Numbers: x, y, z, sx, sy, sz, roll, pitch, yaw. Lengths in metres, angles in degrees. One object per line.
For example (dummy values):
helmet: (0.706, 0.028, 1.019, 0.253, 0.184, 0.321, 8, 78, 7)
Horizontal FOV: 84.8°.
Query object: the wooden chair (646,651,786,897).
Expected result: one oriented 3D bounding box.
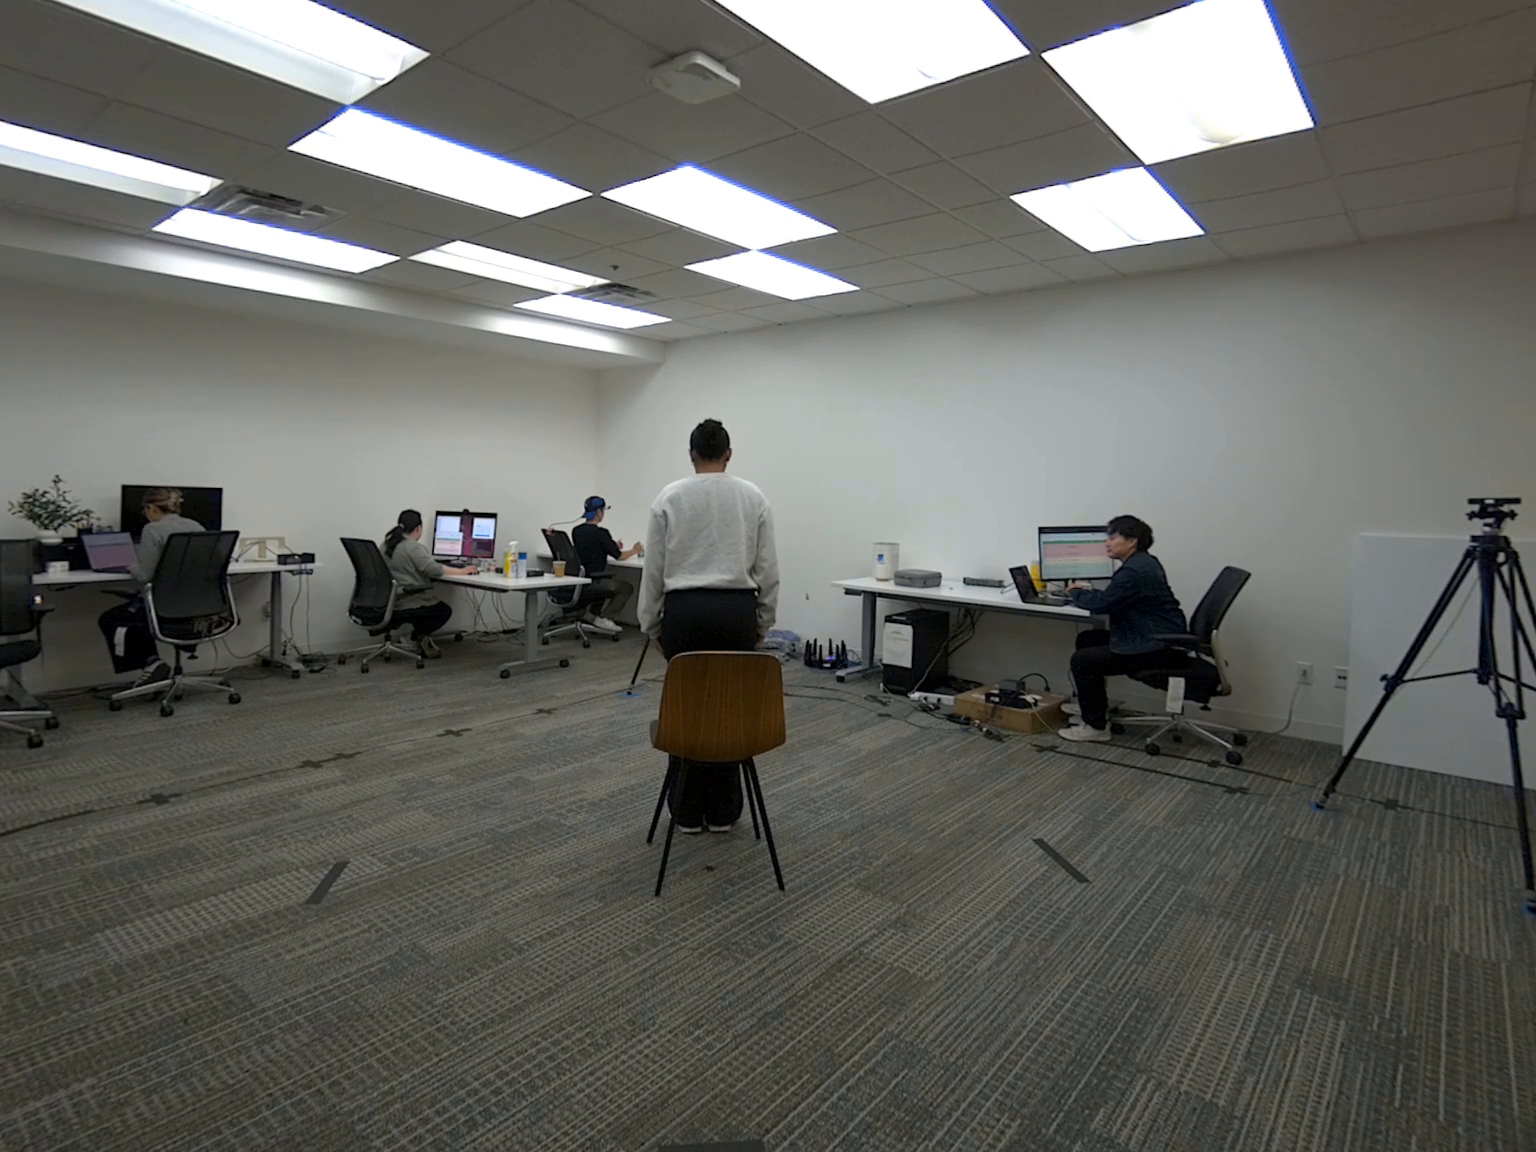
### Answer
wooden chair: (-0.212, 0.634, 3.112, 0.473, 0.872, 0.532, 0, 7, -11)
